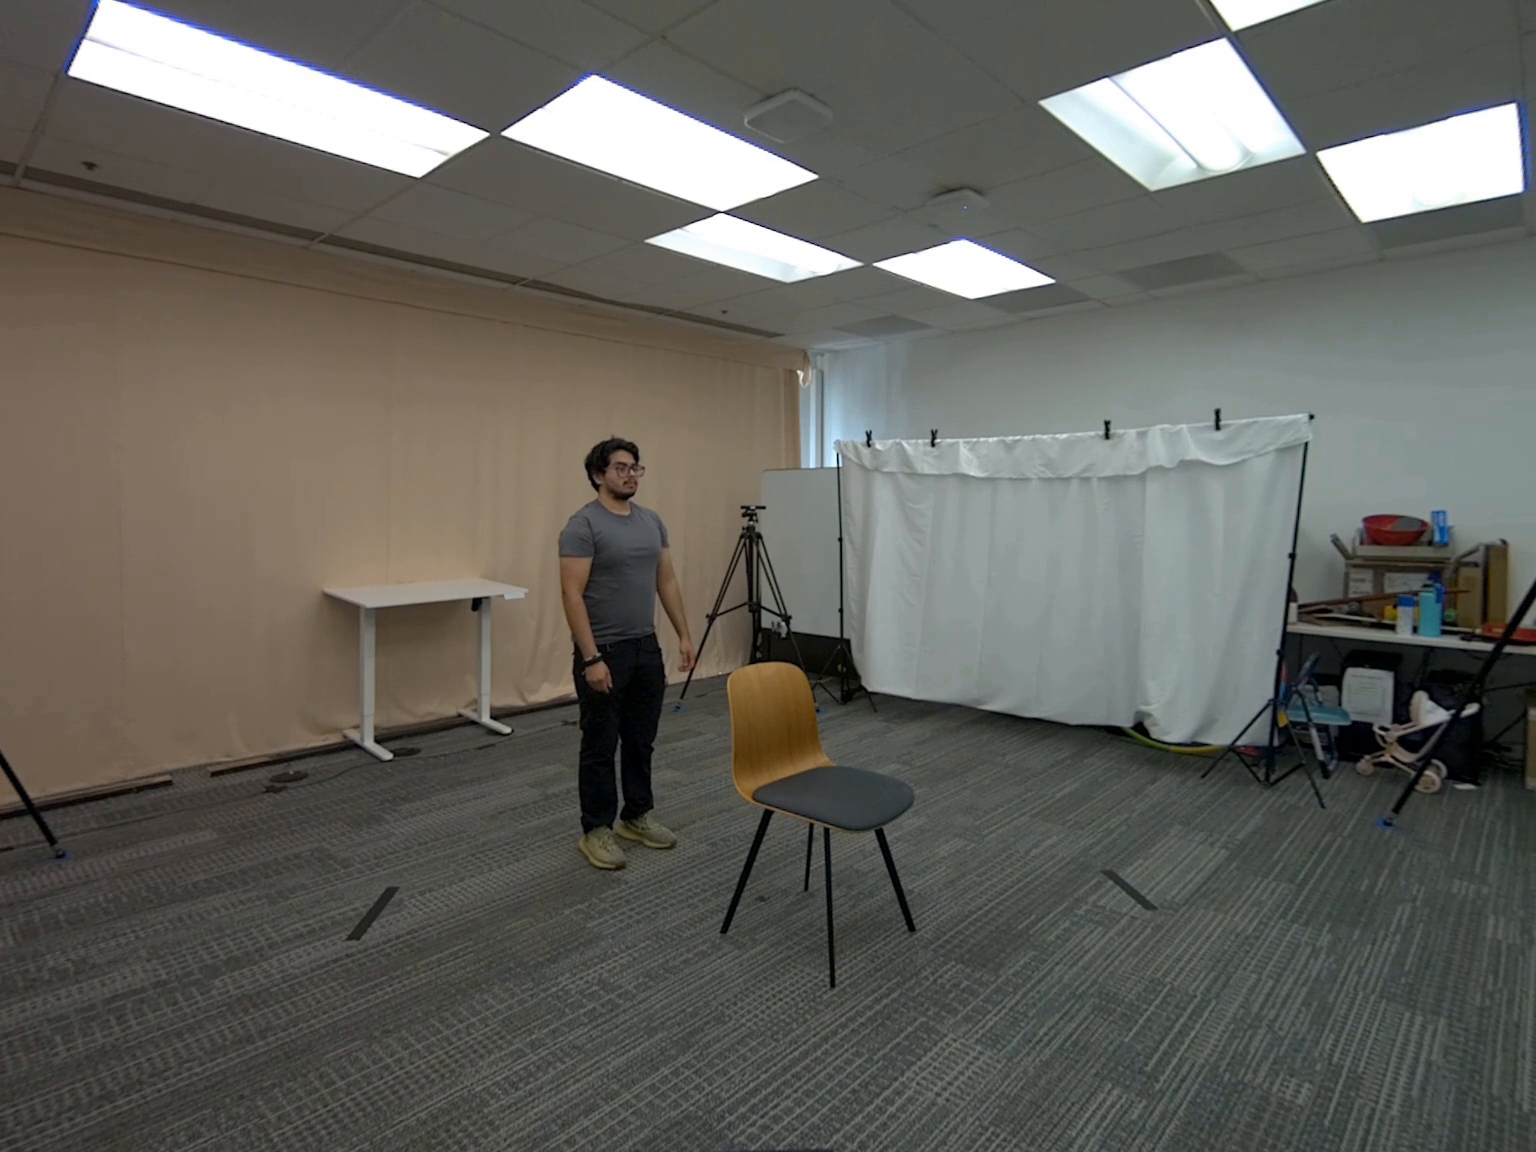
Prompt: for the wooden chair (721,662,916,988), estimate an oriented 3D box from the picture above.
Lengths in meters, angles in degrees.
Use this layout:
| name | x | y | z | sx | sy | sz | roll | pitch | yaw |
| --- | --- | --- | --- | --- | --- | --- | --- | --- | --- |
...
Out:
| name | x | y | z | sx | sy | sz | roll | pitch | yaw |
| --- | --- | --- | --- | --- | --- | --- | --- | --- | --- |
| wooden chair | 0.173 | 0.740 | 2.709 | 0.539 | 0.877 | 0.463 | -3 | 1 | 43 |
